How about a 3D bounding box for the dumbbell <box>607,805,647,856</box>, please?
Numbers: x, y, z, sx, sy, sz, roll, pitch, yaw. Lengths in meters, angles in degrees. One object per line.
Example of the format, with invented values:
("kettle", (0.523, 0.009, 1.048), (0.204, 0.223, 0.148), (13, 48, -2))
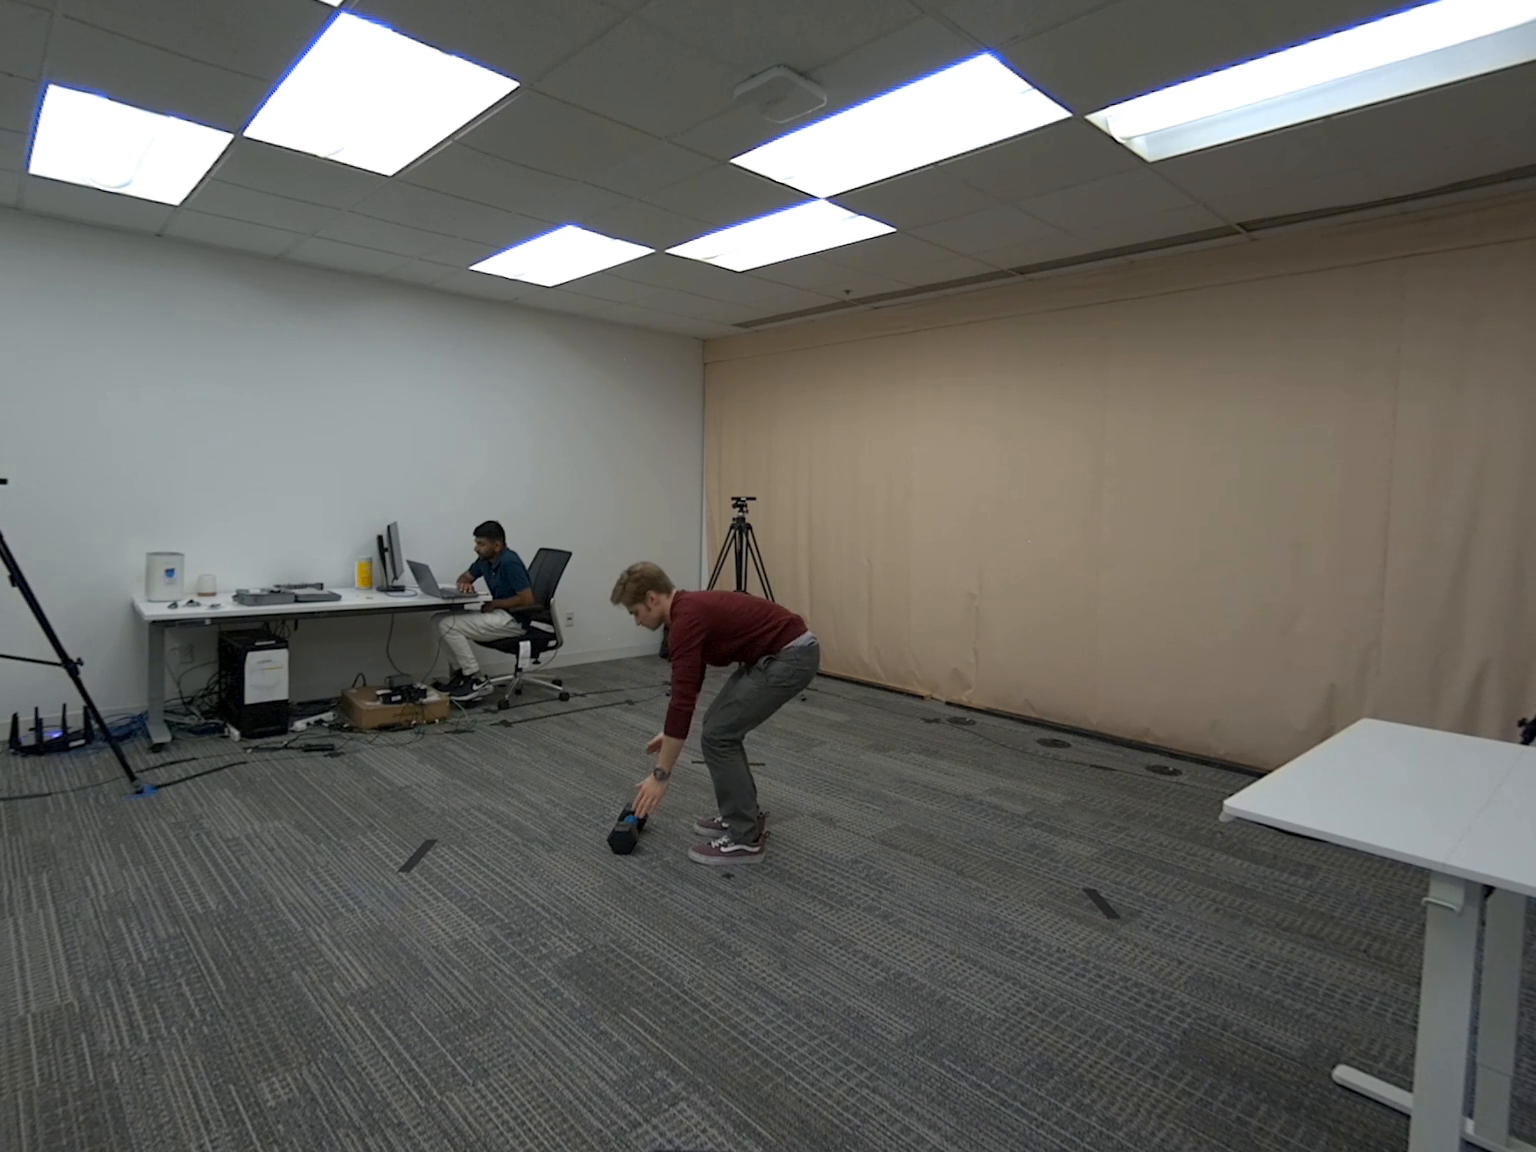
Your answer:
("dumbbell", (-0.572, 1.019, 3.399), (0.123, 0.108, 0.293), (0, 6, 3))
